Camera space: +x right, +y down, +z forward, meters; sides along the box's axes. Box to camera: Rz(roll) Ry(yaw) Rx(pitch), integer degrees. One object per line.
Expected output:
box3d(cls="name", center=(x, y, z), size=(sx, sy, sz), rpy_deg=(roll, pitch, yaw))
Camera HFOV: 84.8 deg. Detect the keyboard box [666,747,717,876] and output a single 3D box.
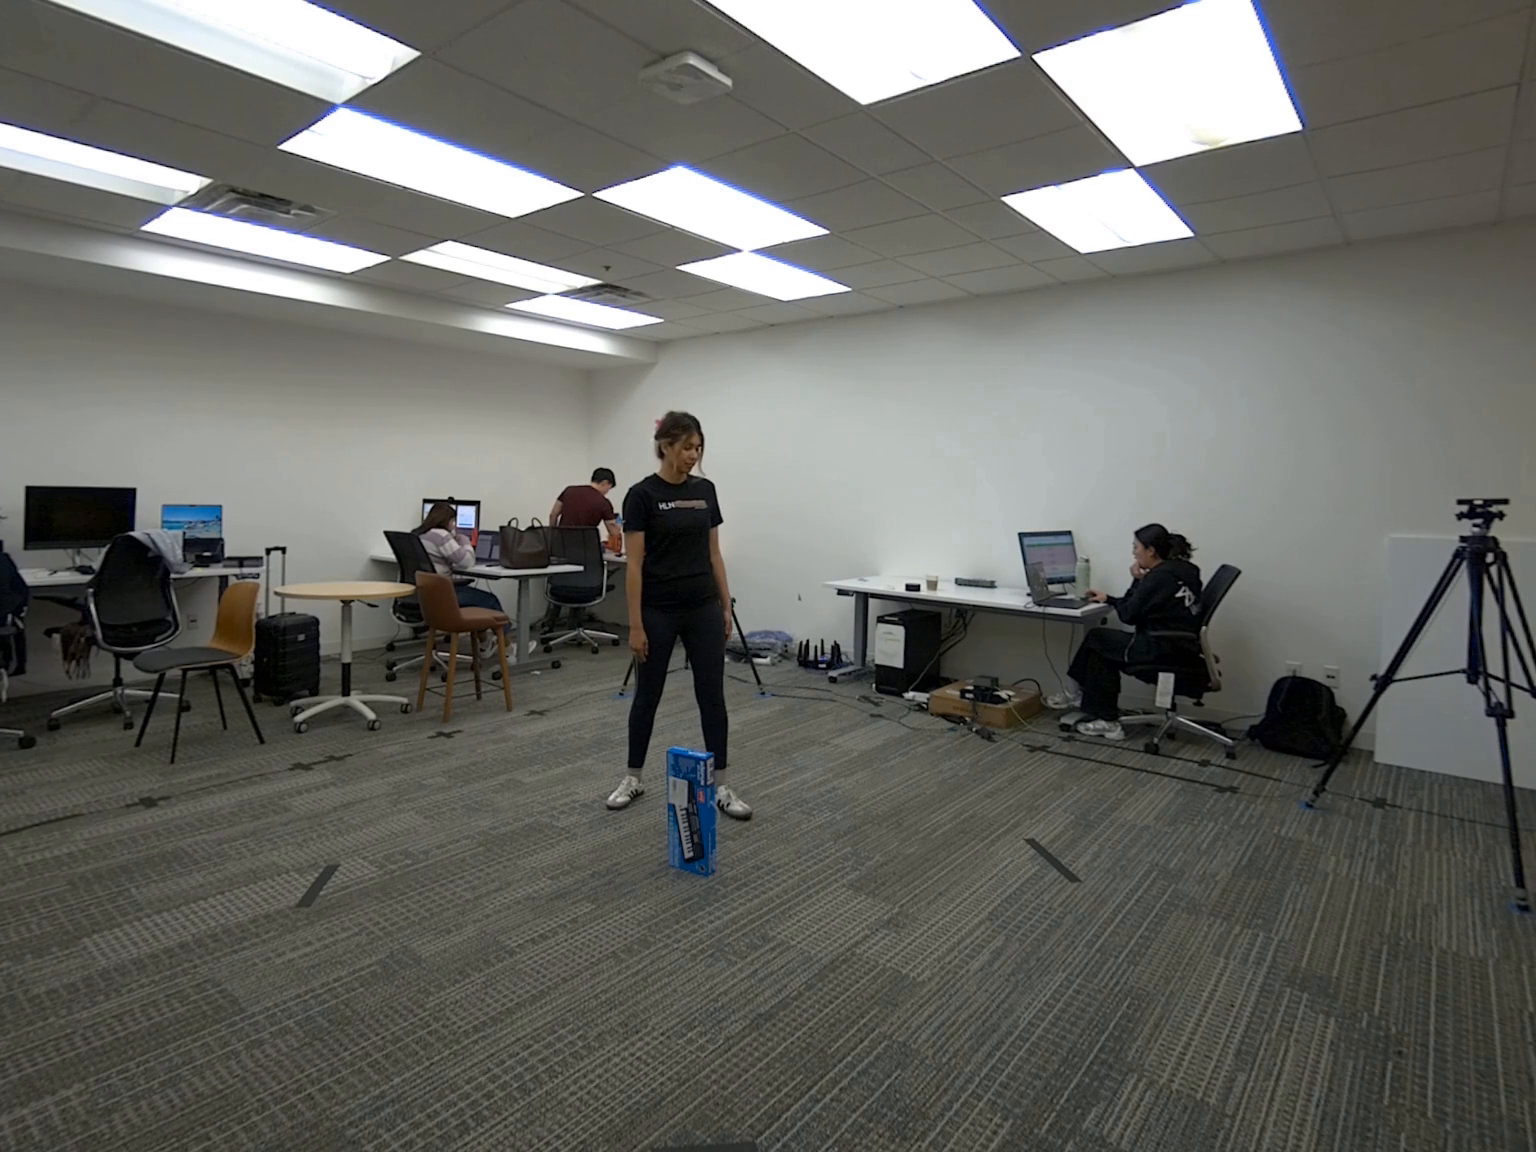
box3d(cls="keyboard box", center=(-0.293, 0.851, 3.095), size=(0.181, 0.434, 0.058), rpy_deg=(3, 6, 30))
